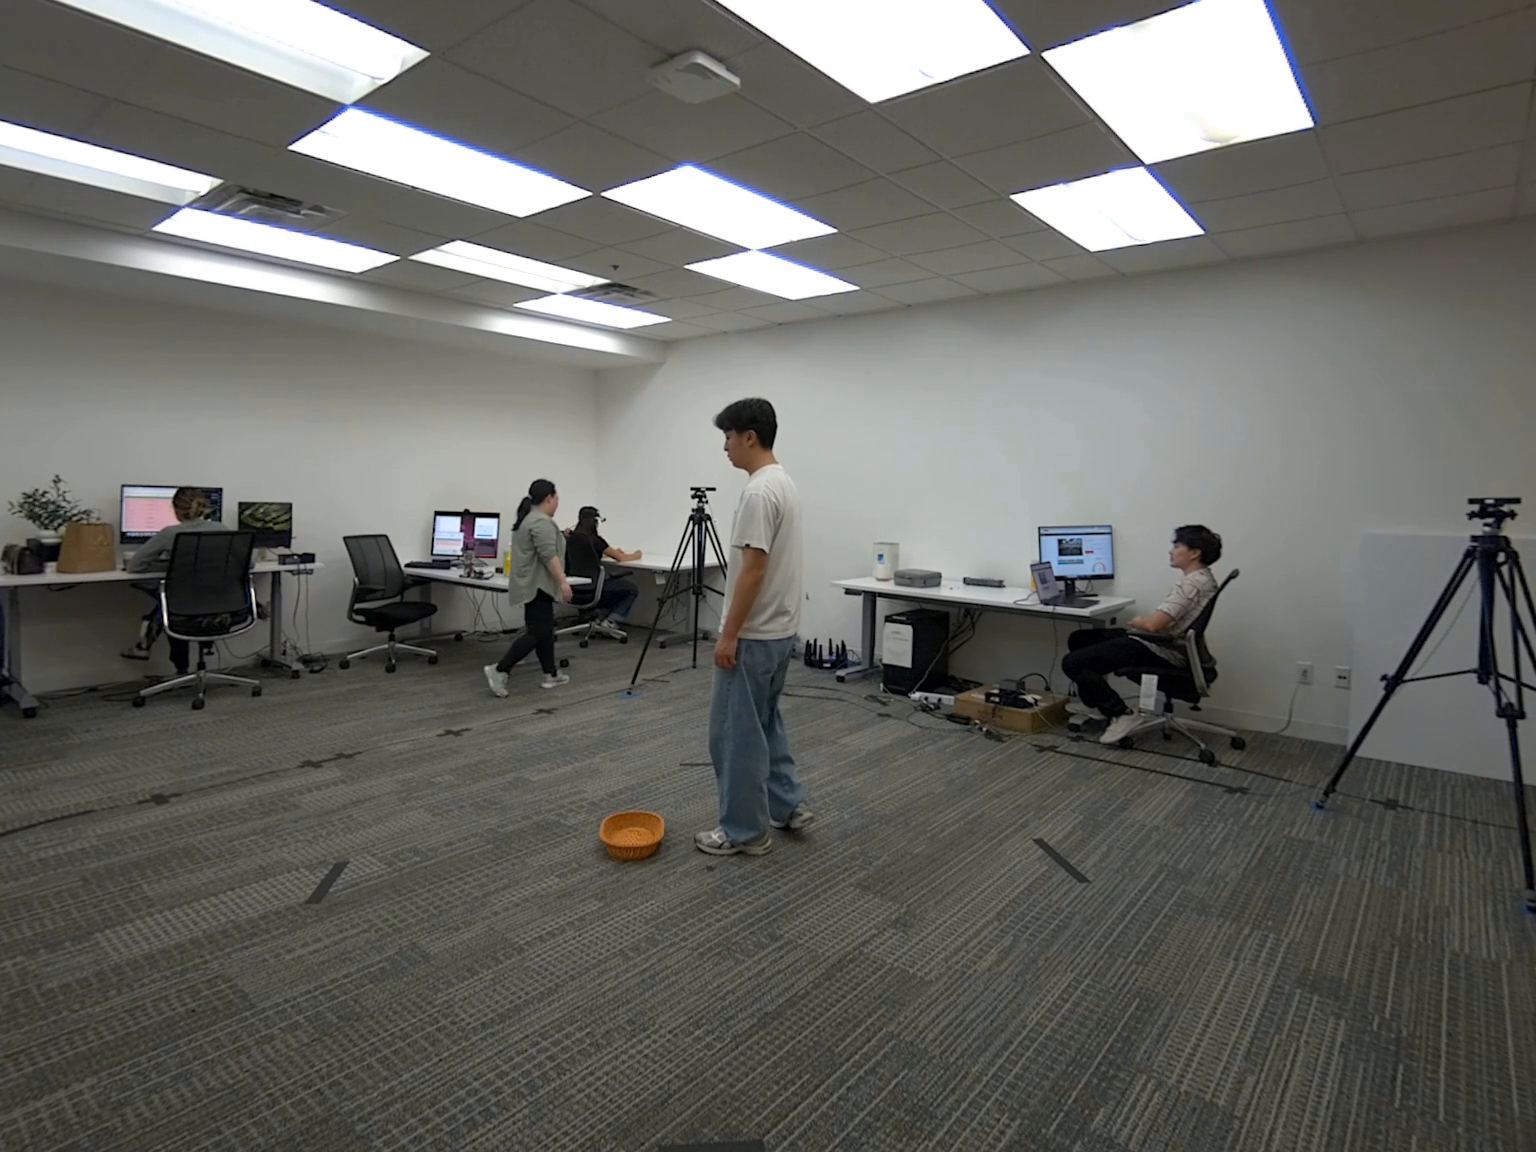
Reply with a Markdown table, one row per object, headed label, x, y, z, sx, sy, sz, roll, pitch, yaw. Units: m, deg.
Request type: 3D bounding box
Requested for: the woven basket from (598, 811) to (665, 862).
| label | x | y | z | sx | sy | sz | roll | pitch | yaw |
| --- | --- | --- | --- | --- | --- | --- | --- | --- | --- |
| woven basket | -0.540 | 1.007 | 3.303 | 0.252 | 0.073 | 0.352 | 1 | 5 | -3 |
